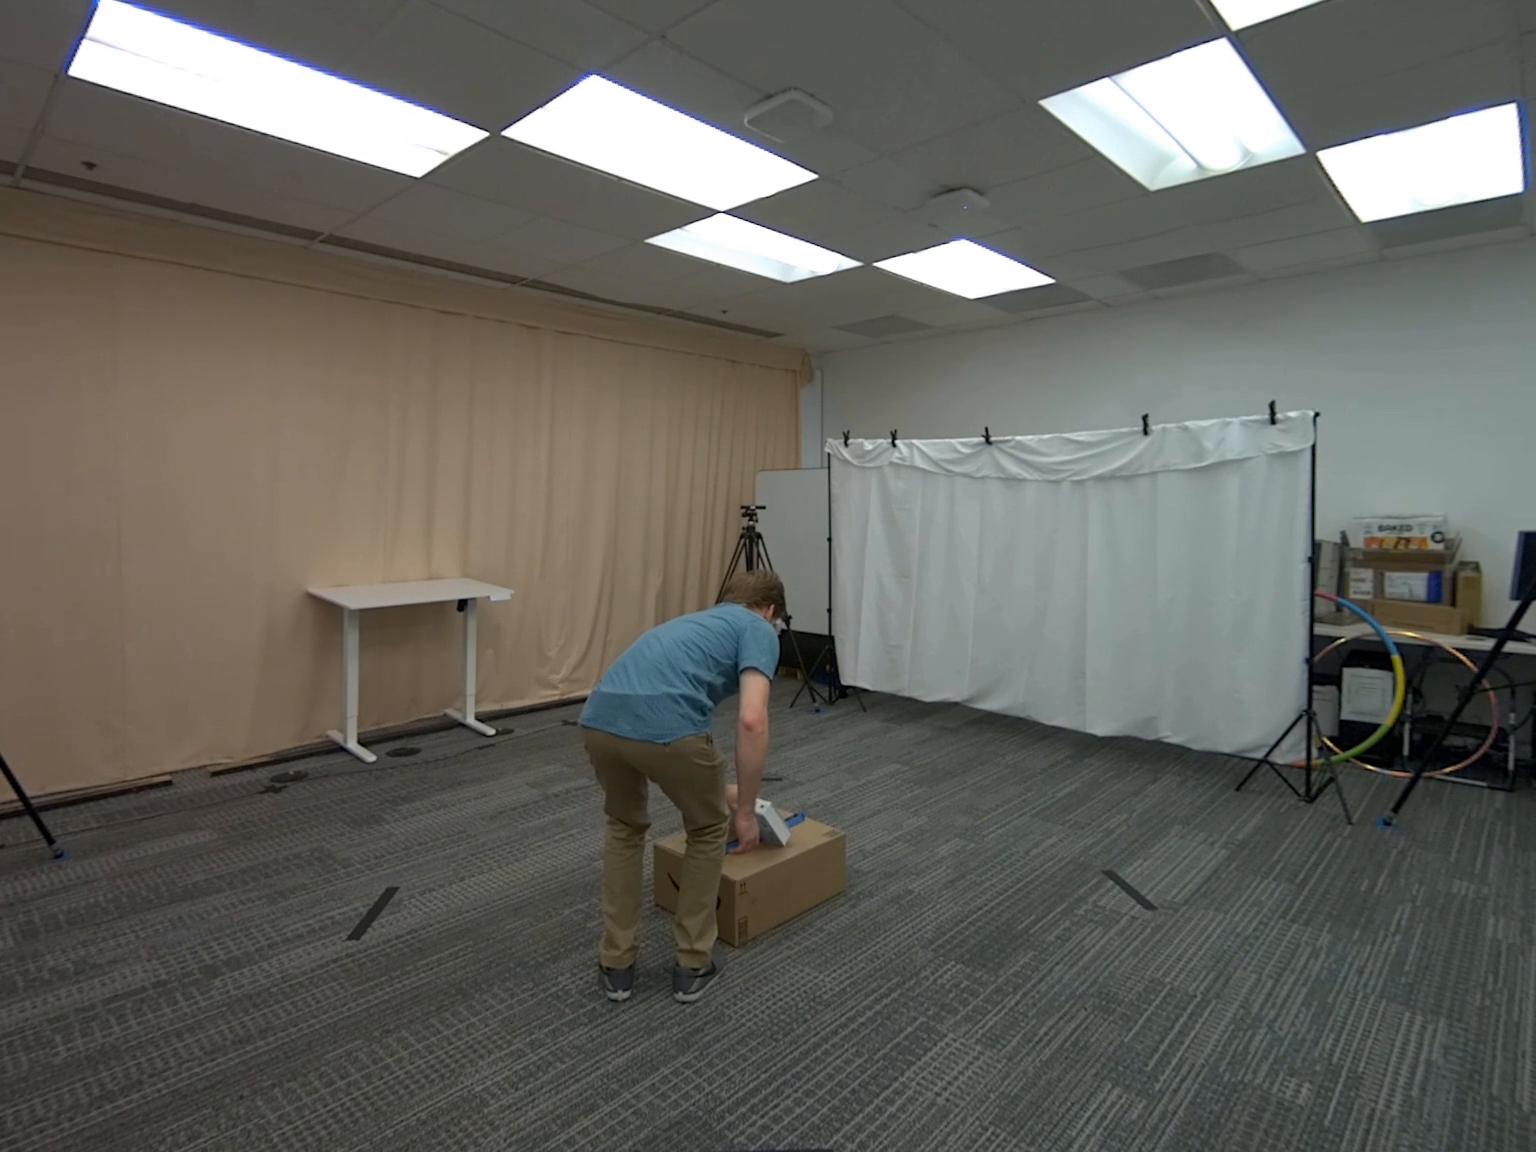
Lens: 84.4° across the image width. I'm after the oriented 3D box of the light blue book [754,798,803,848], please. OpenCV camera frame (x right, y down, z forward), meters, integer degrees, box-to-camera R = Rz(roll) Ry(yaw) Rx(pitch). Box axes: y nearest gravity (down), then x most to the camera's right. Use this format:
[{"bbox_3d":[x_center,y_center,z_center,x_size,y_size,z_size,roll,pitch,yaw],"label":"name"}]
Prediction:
[{"bbox_3d":[-0.062,0.852,2.959,0.269,0.186,0.059,2,42,41],"label":"light blue book"}]
